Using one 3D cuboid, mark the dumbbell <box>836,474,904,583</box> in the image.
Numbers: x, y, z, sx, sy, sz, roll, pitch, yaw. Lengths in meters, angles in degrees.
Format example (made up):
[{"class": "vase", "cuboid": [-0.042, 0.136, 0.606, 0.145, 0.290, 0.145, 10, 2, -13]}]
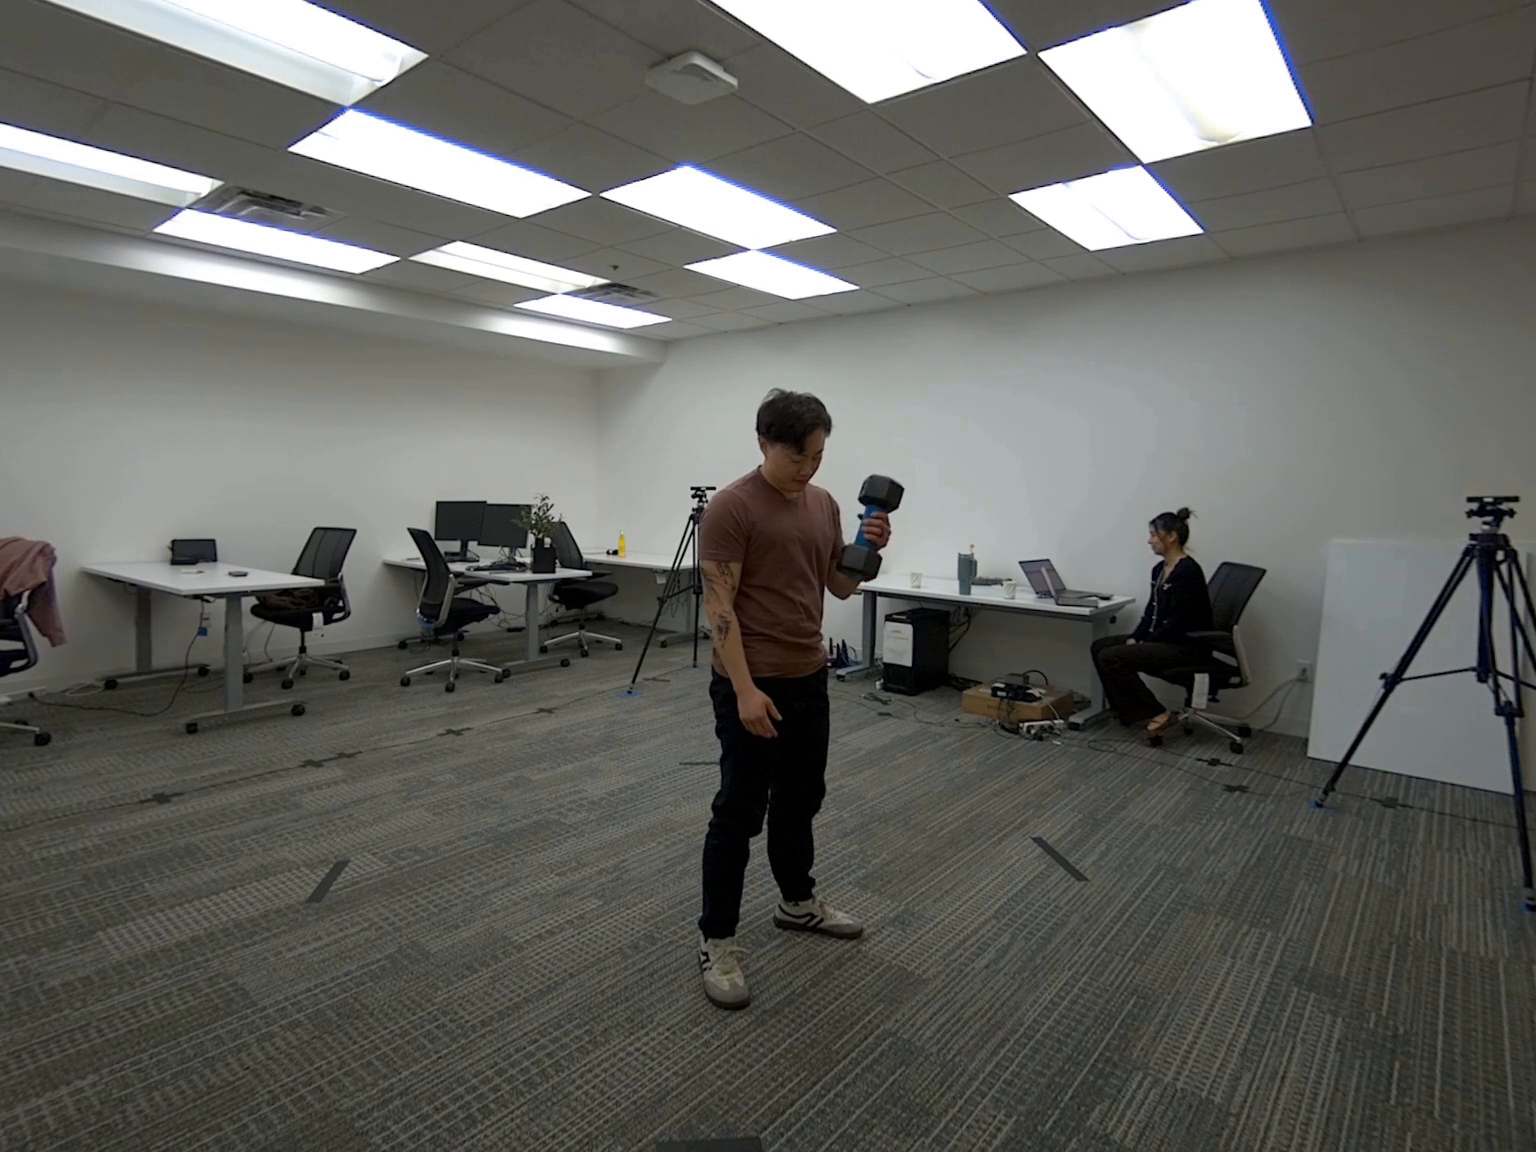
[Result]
[{"class": "dumbbell", "cuboid": [0.275, -0.123, 2.391, 0.108, 0.295, 0.123, 20, -12, -7]}]
